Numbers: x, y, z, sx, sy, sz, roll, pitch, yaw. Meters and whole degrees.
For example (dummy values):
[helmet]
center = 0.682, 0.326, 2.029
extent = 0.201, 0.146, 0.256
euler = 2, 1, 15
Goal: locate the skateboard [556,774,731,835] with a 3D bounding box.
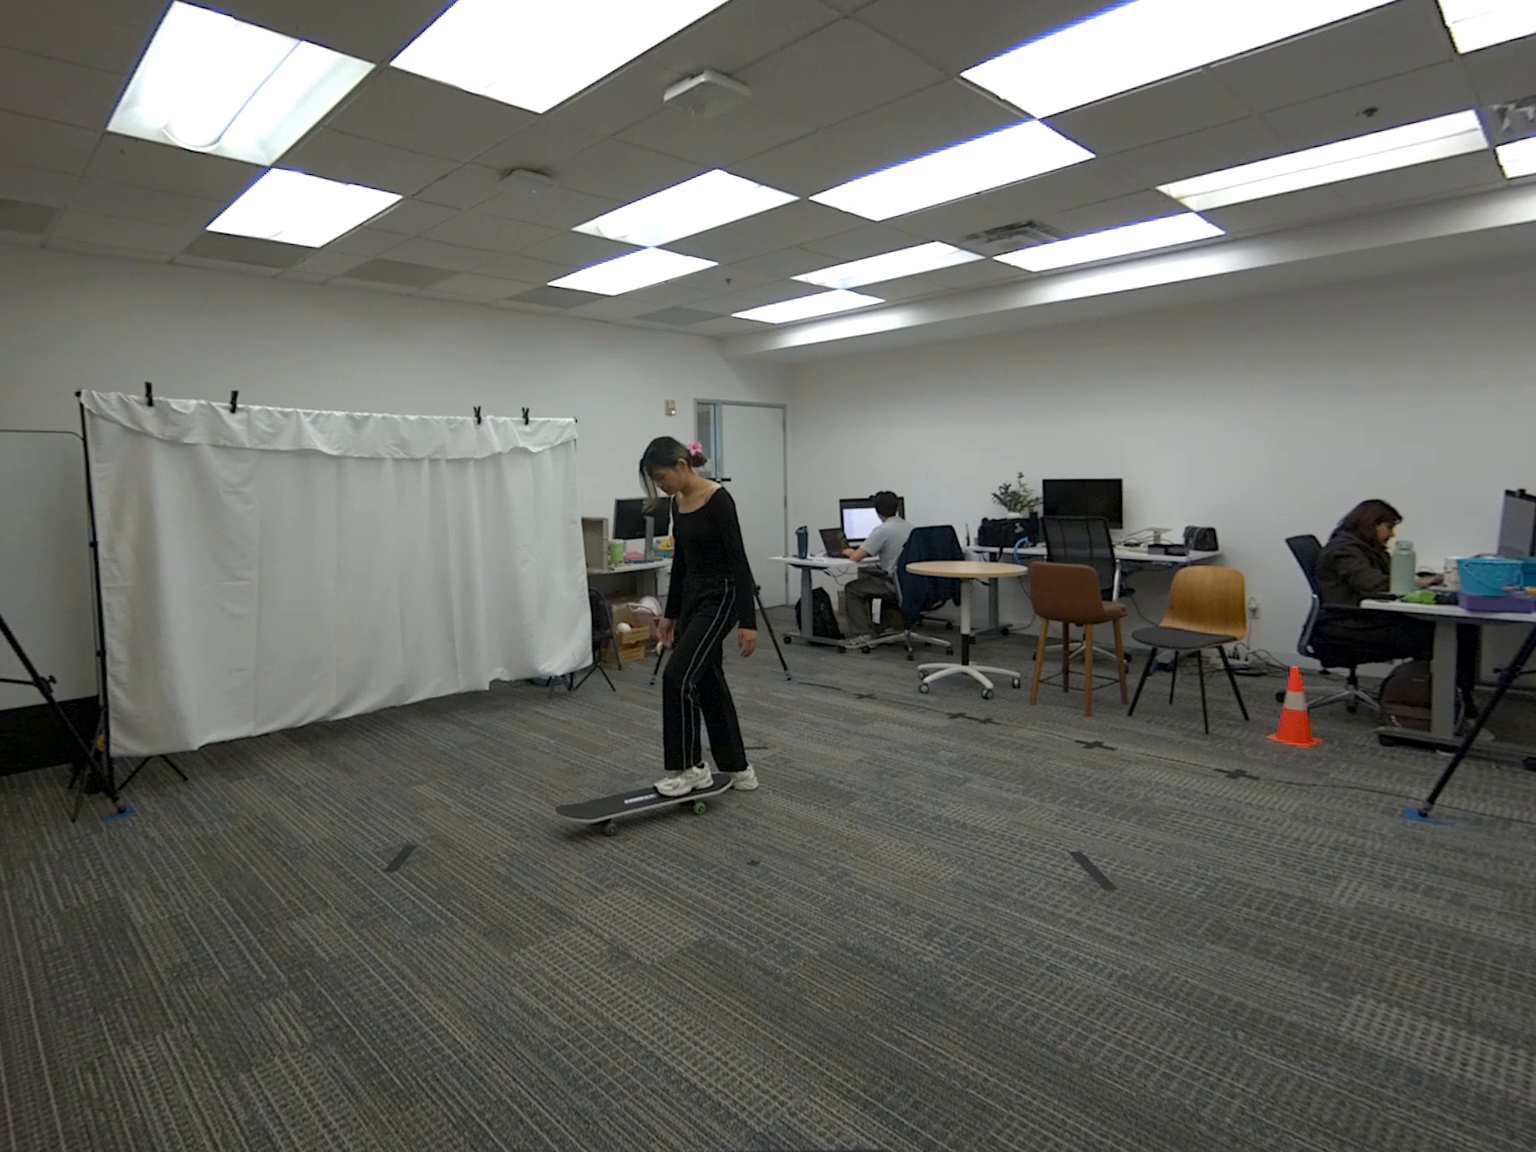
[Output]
[skateboard]
center = -0.499, 0.948, 3.536
extent = 0.767, 0.110, 0.199
euler = -4, 6, -31
